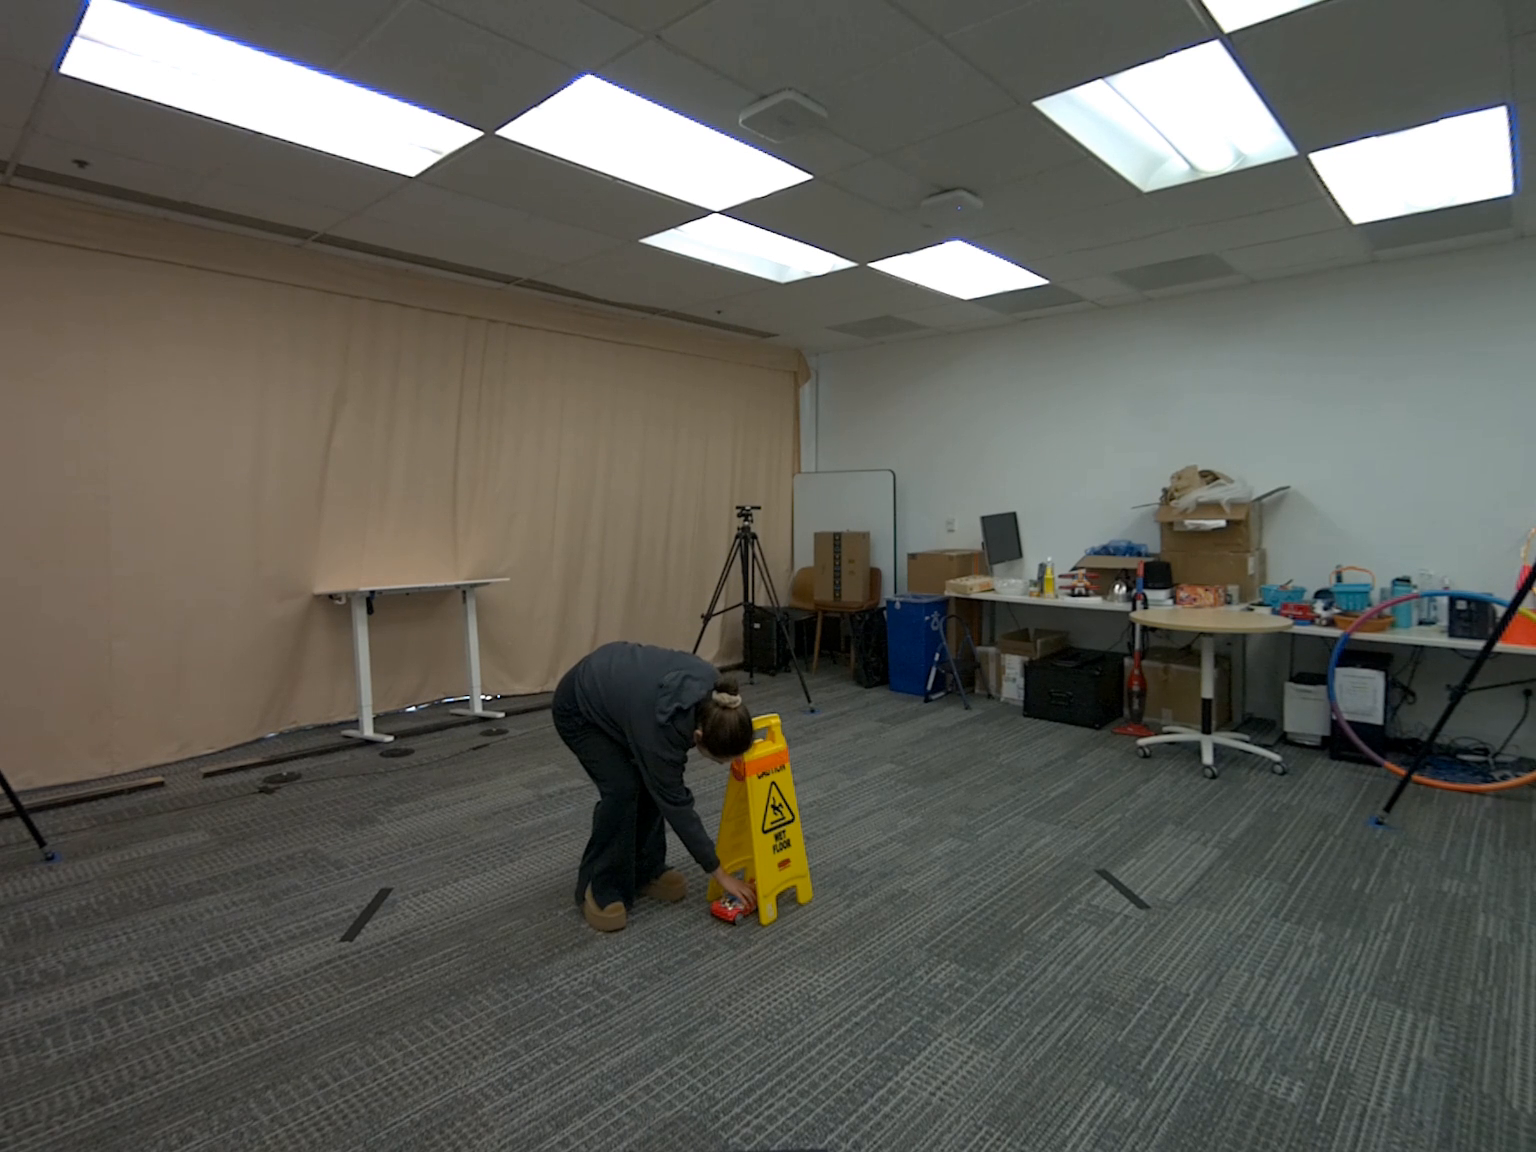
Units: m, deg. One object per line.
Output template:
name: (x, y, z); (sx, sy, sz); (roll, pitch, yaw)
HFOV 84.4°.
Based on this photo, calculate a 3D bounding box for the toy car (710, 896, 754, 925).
toy car: (-0.094, 1.125, 2.911); (0.134, 0.082, 0.248); (2, 15, 40)
